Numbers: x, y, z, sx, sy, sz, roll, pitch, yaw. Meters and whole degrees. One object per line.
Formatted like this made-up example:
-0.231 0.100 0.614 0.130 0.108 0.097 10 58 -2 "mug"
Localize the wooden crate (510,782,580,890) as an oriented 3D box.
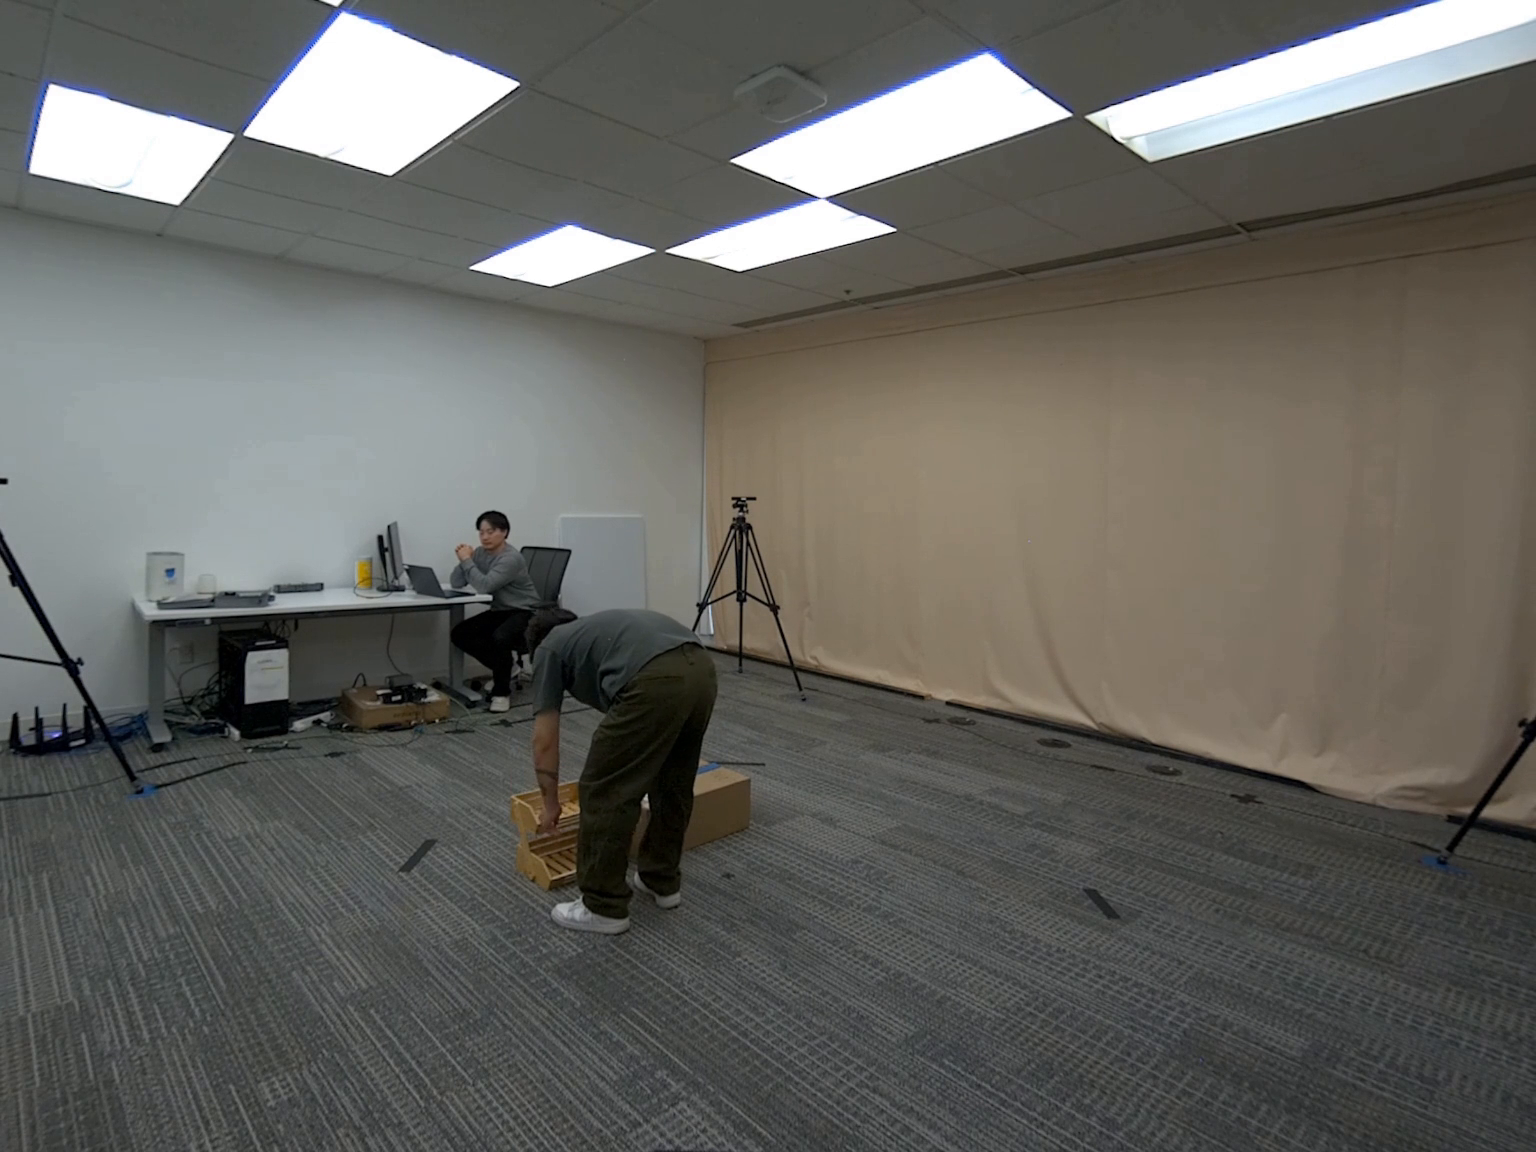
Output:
-0.755 0.951 3.139 0.317 0.272 0.310 -3 6 -43 "wooden crate"
